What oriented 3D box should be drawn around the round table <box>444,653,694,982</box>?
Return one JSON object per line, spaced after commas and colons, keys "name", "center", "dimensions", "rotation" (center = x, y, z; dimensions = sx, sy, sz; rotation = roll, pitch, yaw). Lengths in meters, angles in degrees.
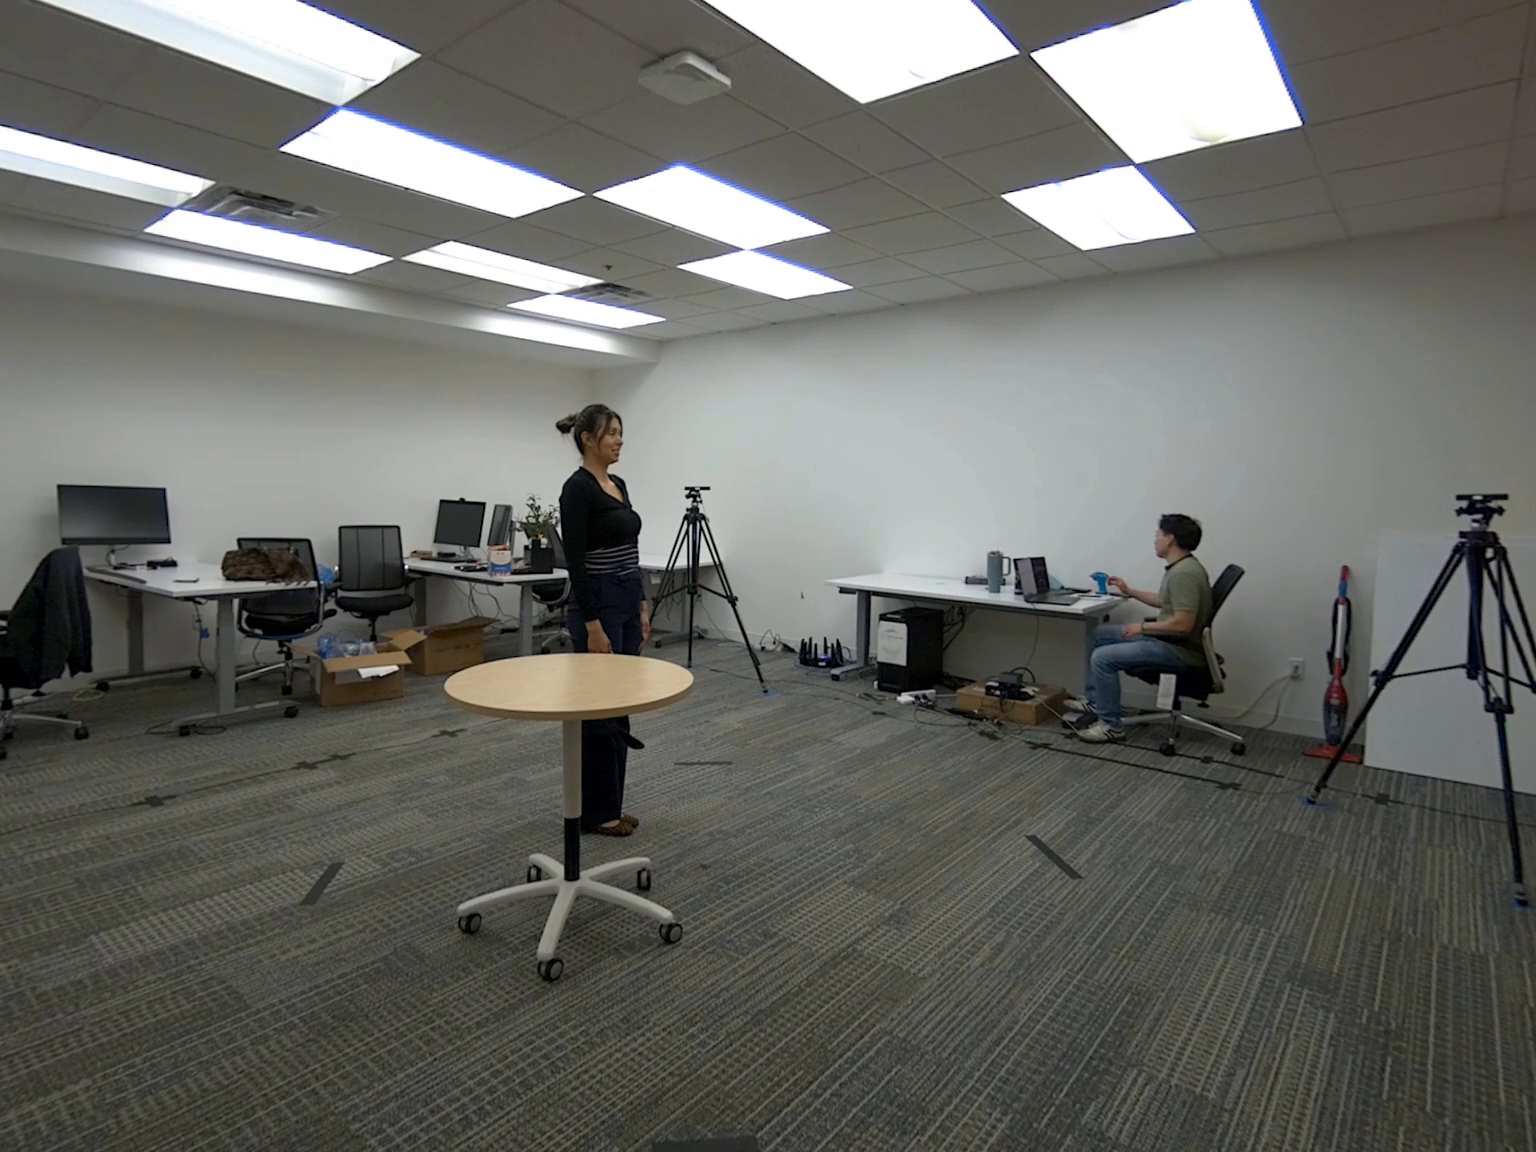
{"name": "round table", "center": [-0.624, 0.714, 2.687], "dimensions": [0.763, 0.791, 0.768], "rotation": [0, 5, -2]}
